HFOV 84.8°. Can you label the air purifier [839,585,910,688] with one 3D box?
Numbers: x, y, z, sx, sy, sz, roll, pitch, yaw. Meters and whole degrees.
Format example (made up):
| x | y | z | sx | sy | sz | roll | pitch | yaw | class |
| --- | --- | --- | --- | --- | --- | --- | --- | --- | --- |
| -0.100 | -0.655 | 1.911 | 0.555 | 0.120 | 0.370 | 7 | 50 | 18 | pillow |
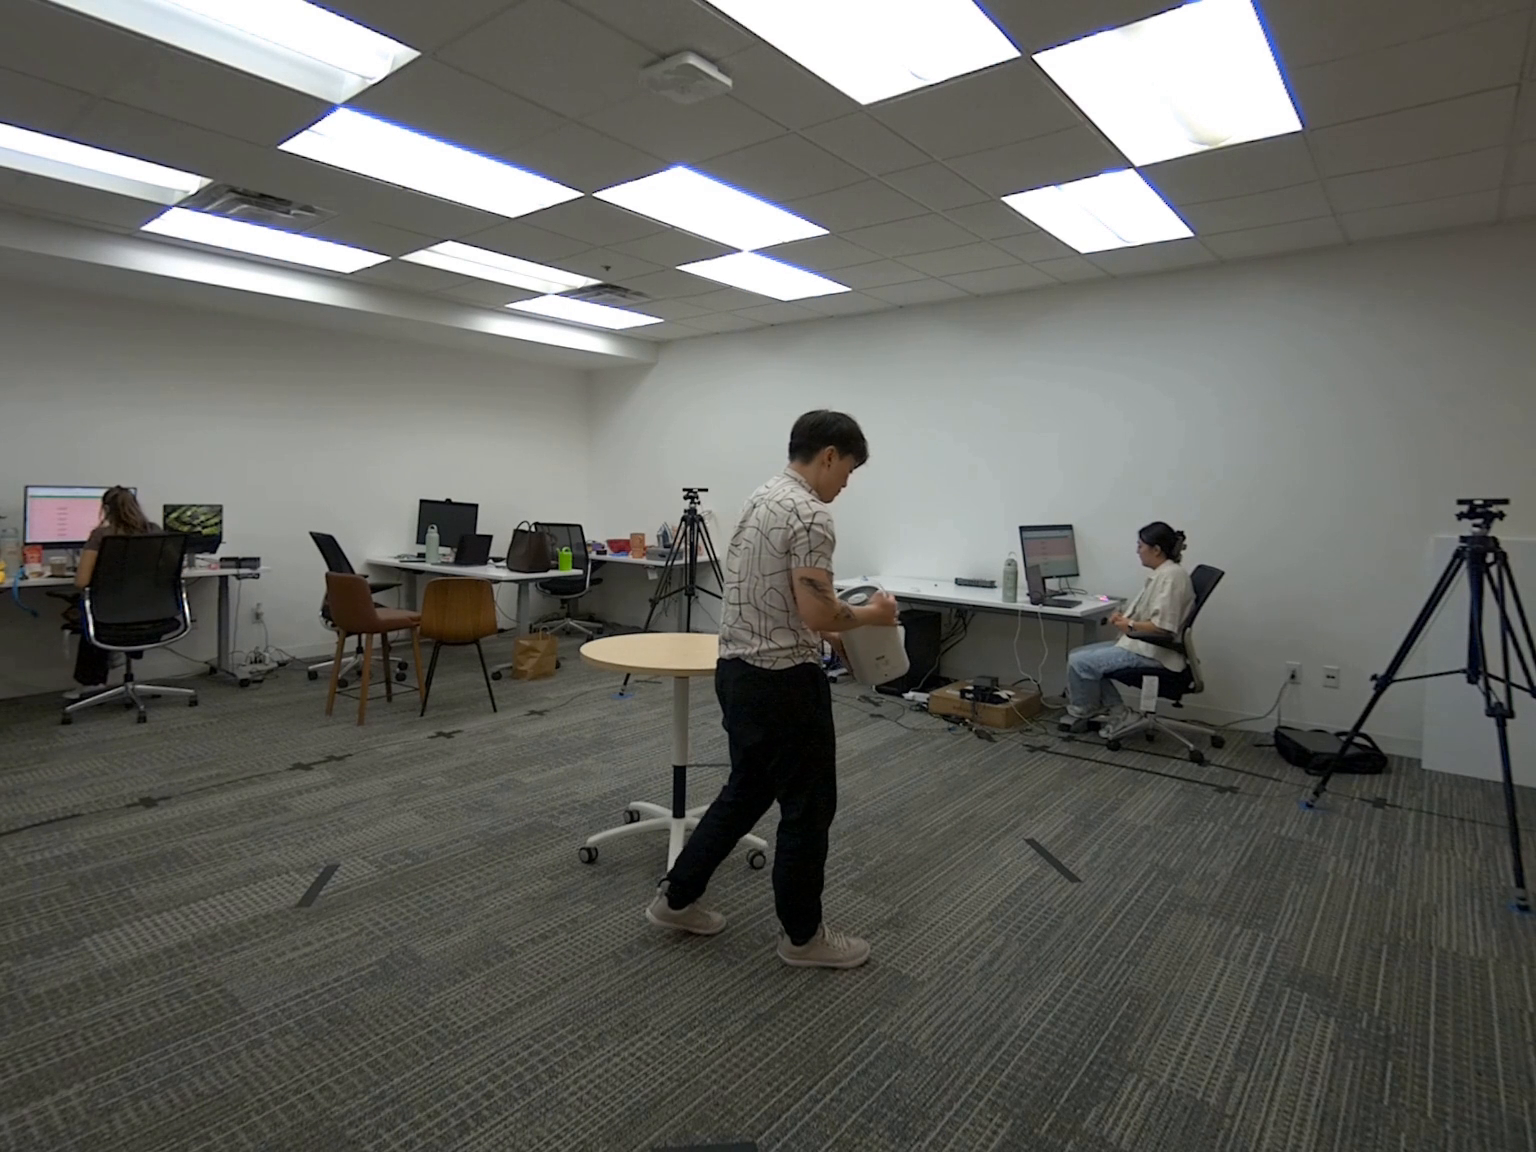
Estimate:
| x | y | z | sx | sy | sz | roll | pitch | yaw | class |
| --- | --- | --- | --- | --- | --- | --- | --- | --- | --- |
| 0.304 | 0.181 | 2.587 | 0.171 | 0.260 | 0.175 | -20 | 18 | 2 | air purifier |
